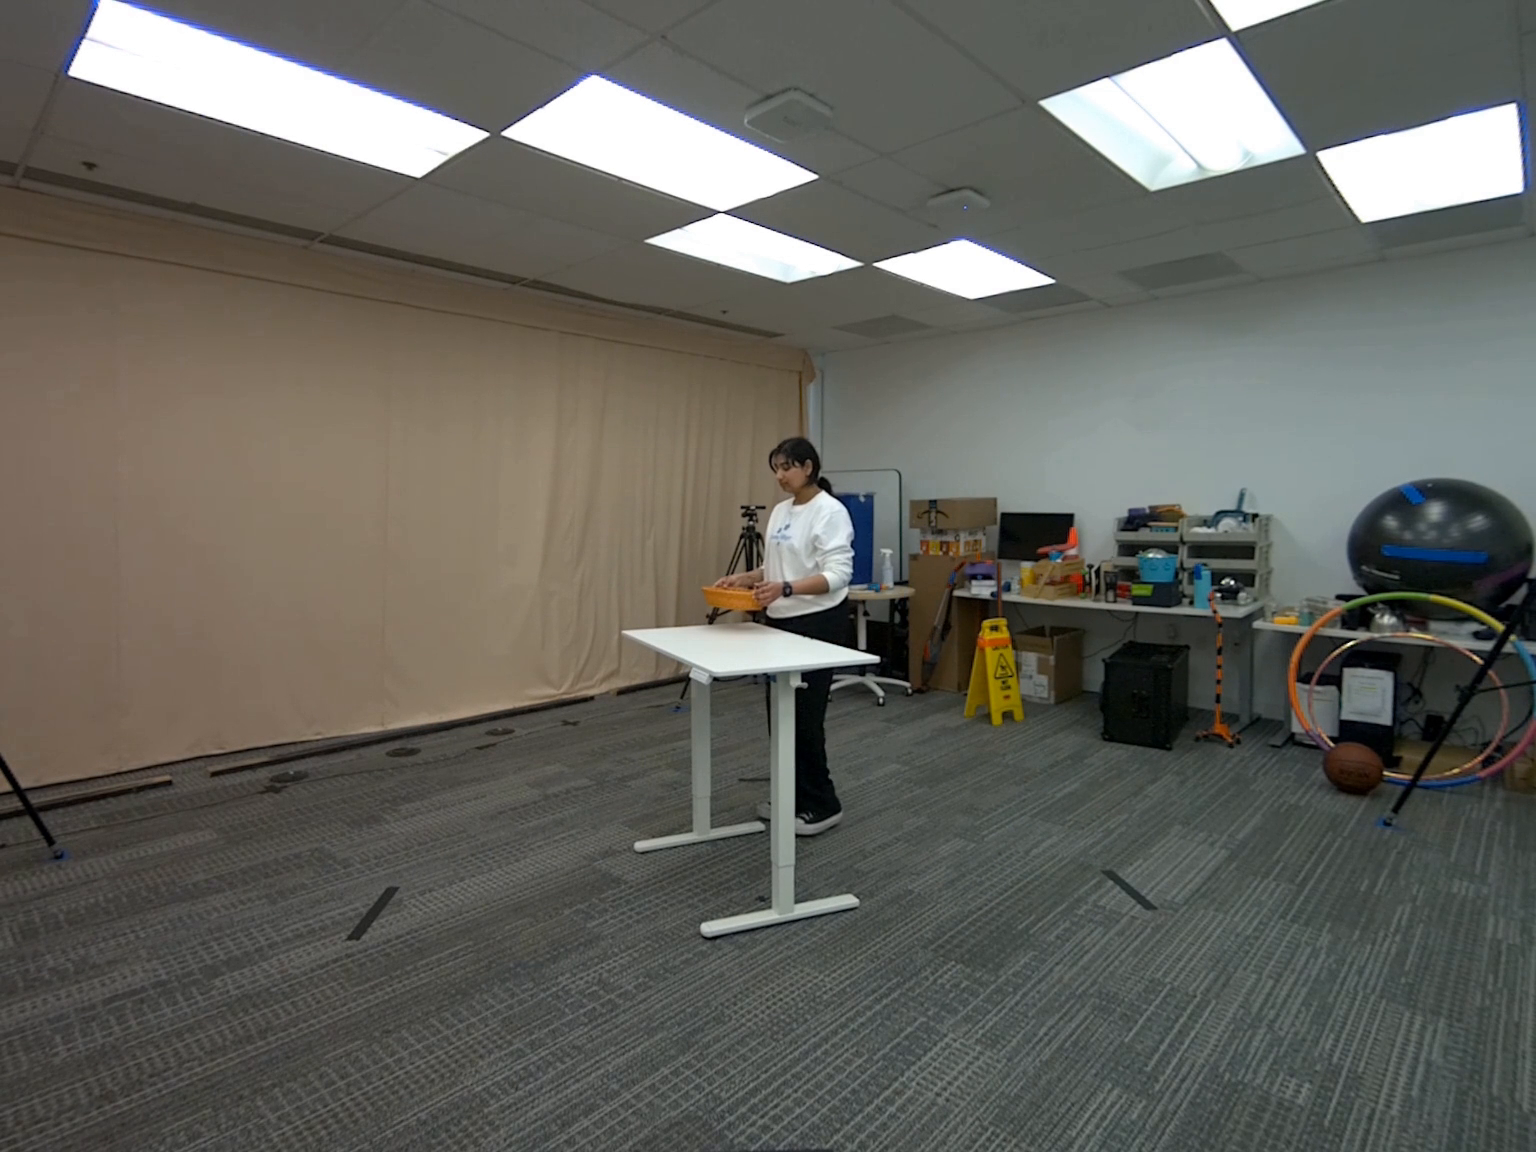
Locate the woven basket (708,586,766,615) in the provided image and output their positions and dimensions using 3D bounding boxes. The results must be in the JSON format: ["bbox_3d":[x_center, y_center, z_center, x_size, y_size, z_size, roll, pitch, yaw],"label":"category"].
[{"bbox_3d":[-0.069,0.103,3.533,0.246,0.073,0.359,4,3,-23],"label":"woven basket"}]
